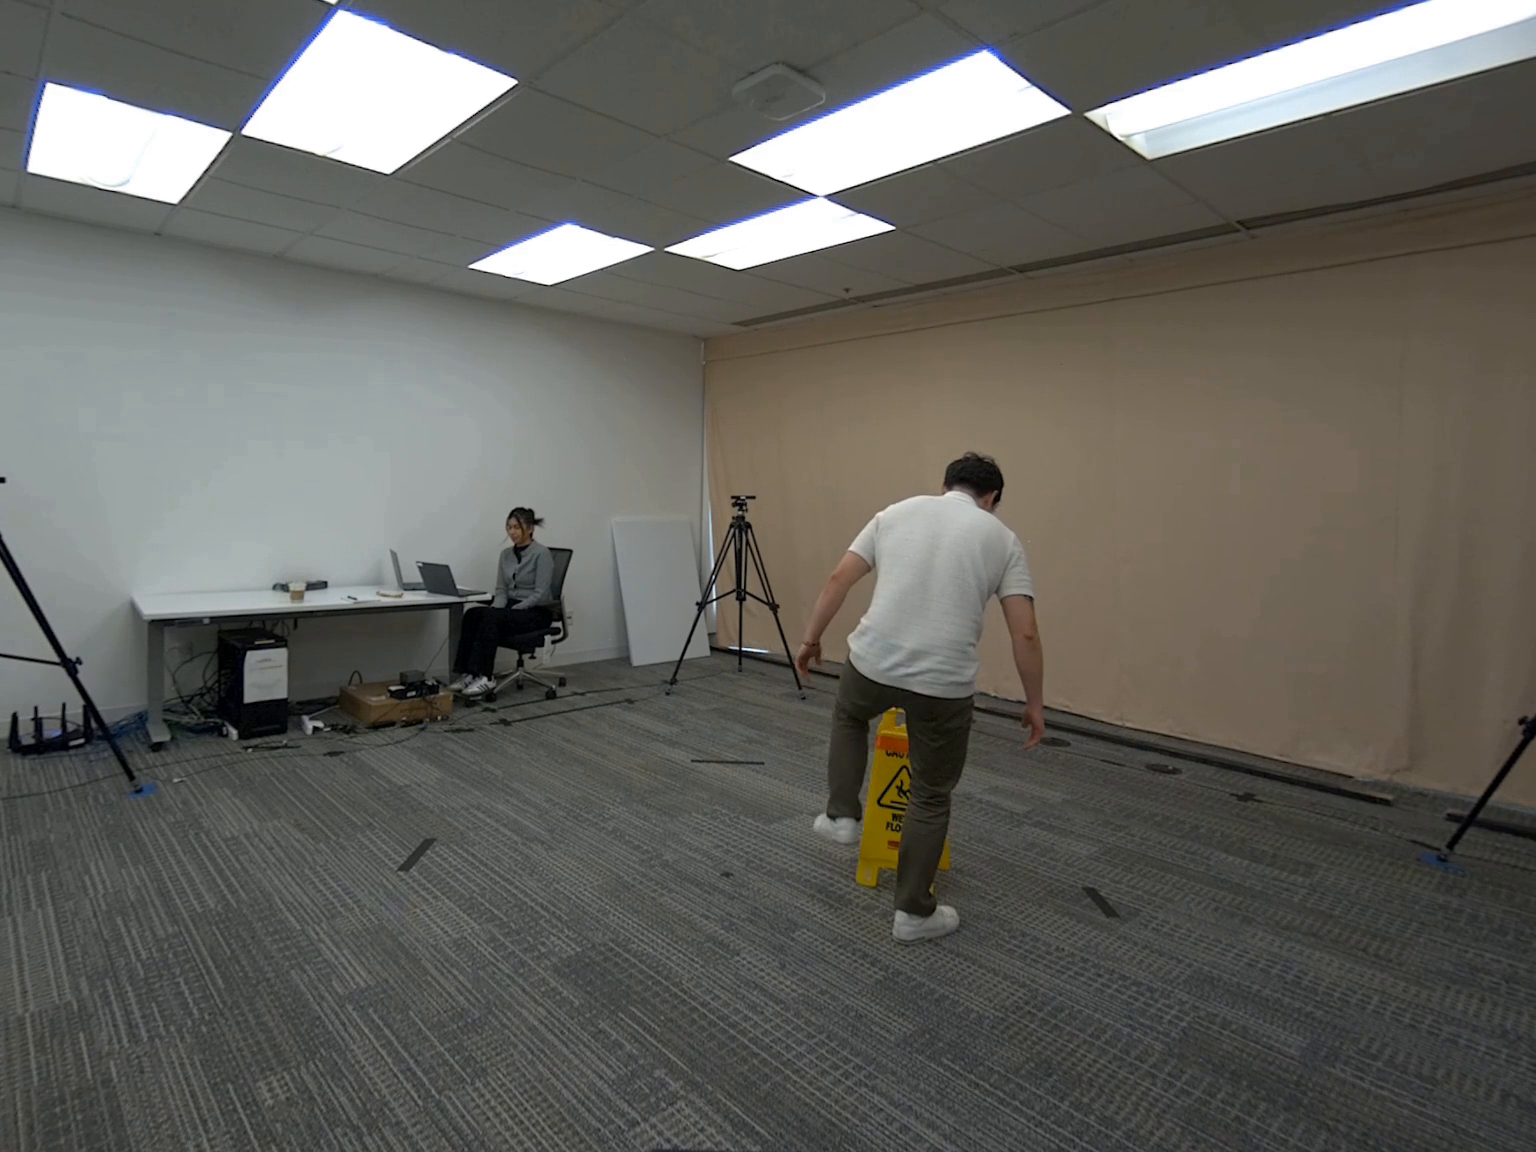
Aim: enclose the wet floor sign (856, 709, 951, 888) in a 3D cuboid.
[{"bbox_3d":[0.508,0.792,3.112,0.288,0.645,0.285,4,3,25],"label":"wet floor sign"}]
